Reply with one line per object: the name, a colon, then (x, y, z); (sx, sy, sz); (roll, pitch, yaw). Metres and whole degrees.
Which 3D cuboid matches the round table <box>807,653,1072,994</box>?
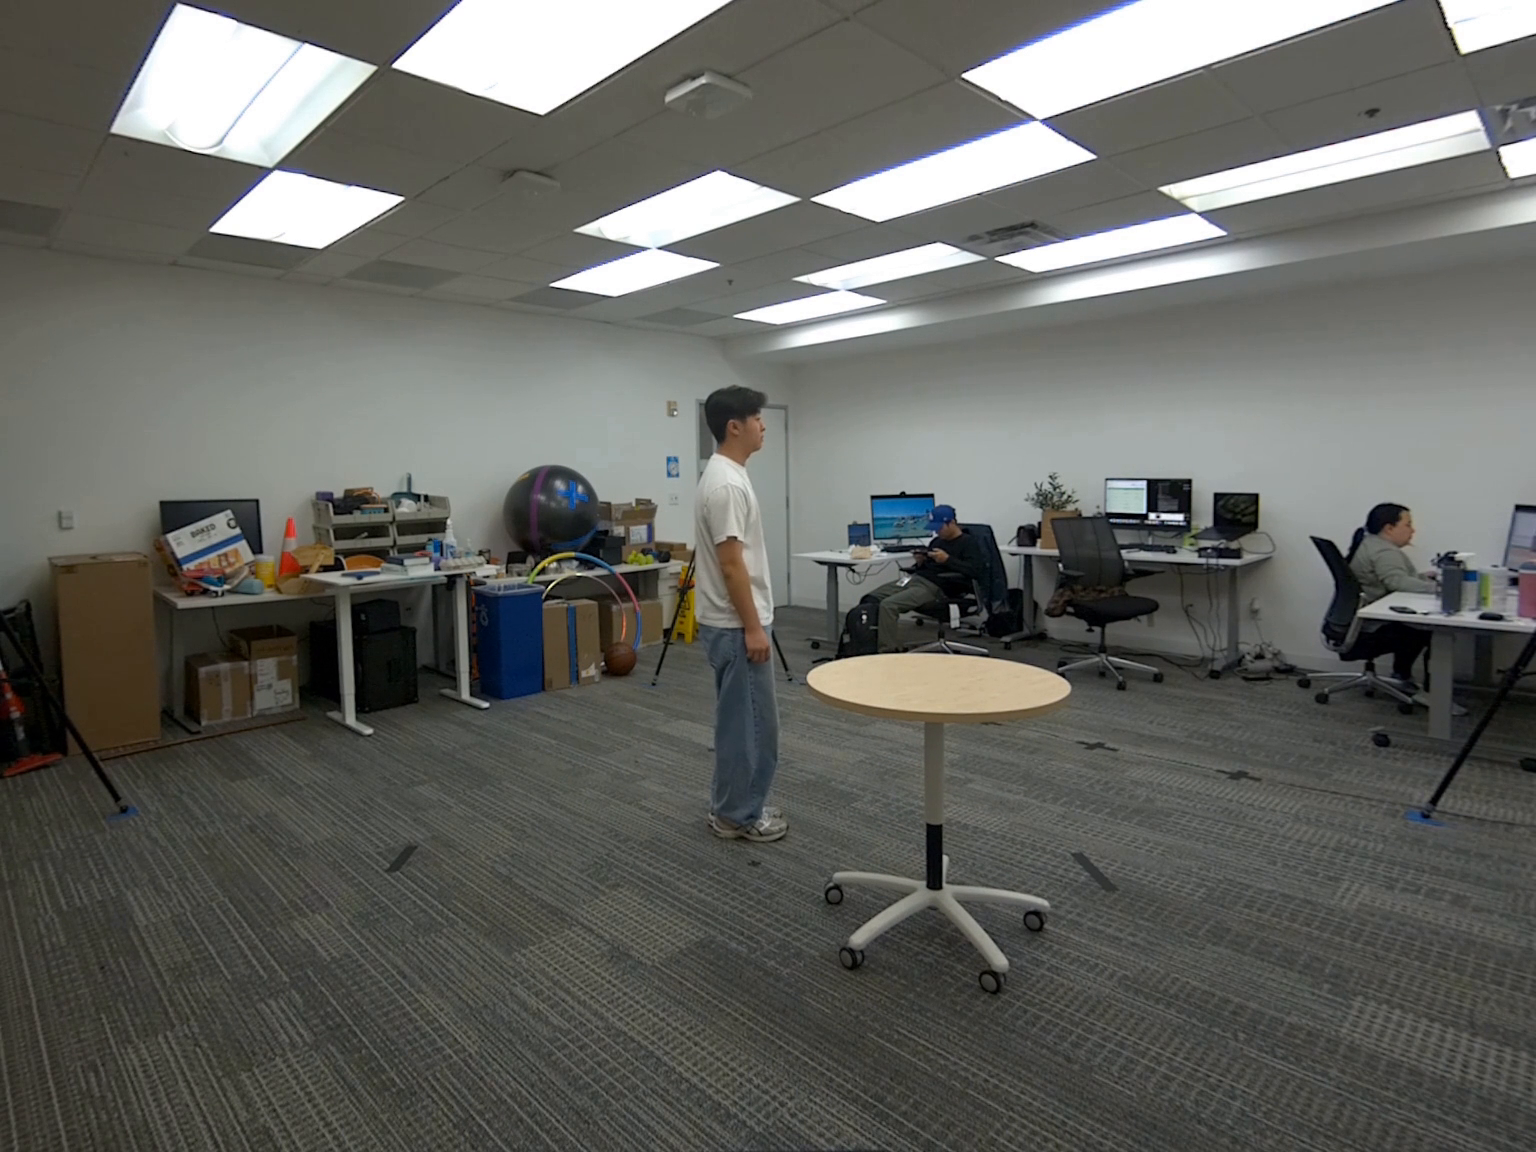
round table: (0.507, 0.704, 2.605); (0.763, 0.791, 0.768); (-1, 5, -2)
